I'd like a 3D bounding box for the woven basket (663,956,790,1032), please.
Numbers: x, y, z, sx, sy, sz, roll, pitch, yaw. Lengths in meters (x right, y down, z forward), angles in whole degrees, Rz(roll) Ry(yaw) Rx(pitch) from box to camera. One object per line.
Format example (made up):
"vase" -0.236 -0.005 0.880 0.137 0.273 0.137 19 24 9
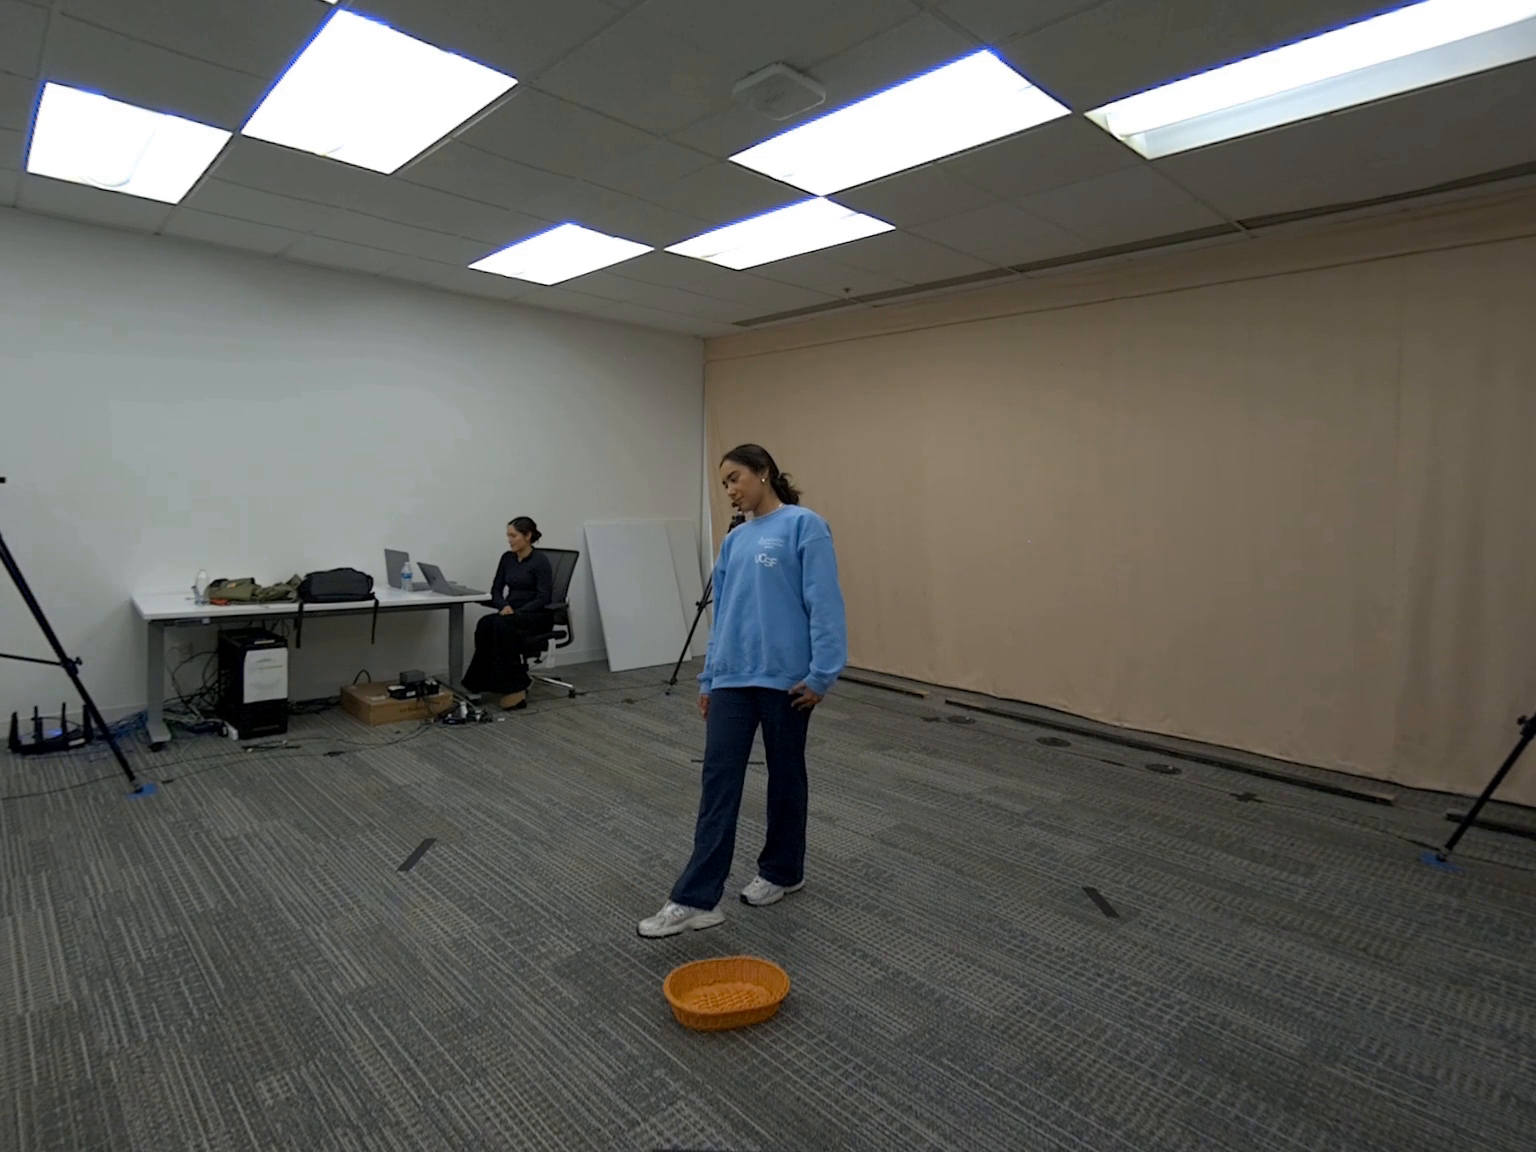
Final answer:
"woven basket" -0.118 1.144 2.286 0.346 0.073 0.256 0 5 -16
